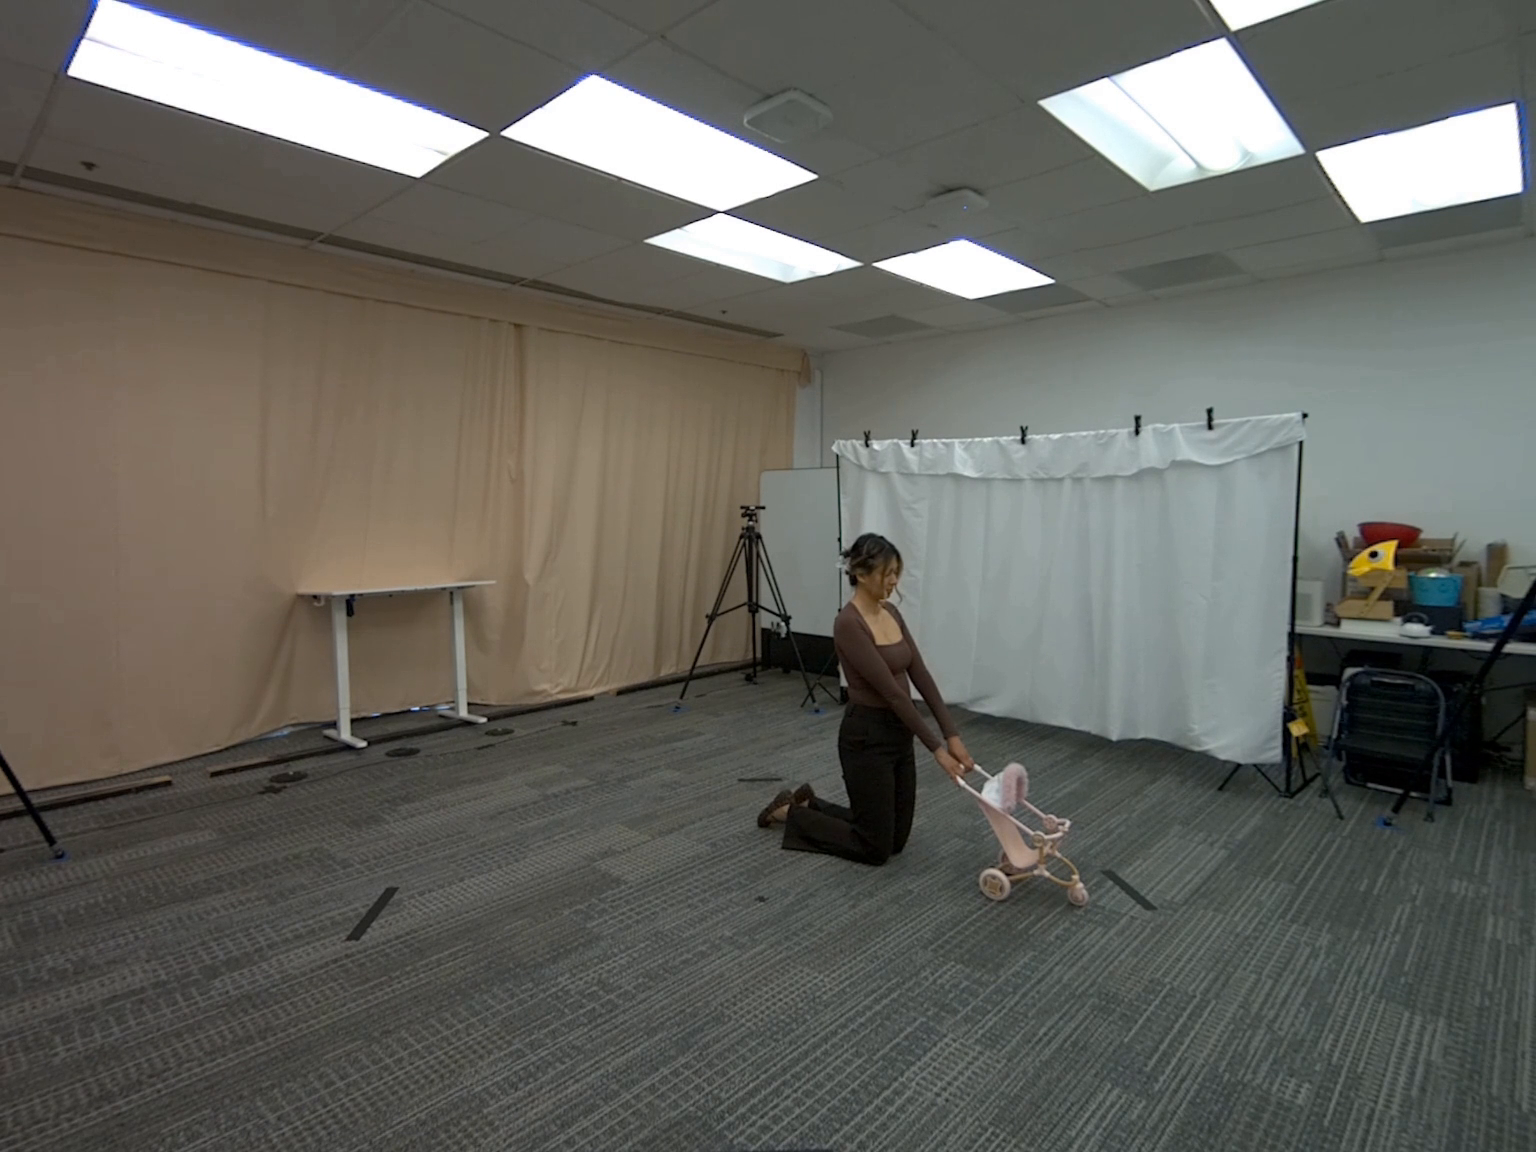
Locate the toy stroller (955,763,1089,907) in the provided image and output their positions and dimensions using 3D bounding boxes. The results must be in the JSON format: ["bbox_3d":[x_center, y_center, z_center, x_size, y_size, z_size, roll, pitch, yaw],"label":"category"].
[{"bbox_3d":[0.919,0.916,3.027,0.349,0.539,0.273,-20,-9,37],"label":"toy stroller"}]
